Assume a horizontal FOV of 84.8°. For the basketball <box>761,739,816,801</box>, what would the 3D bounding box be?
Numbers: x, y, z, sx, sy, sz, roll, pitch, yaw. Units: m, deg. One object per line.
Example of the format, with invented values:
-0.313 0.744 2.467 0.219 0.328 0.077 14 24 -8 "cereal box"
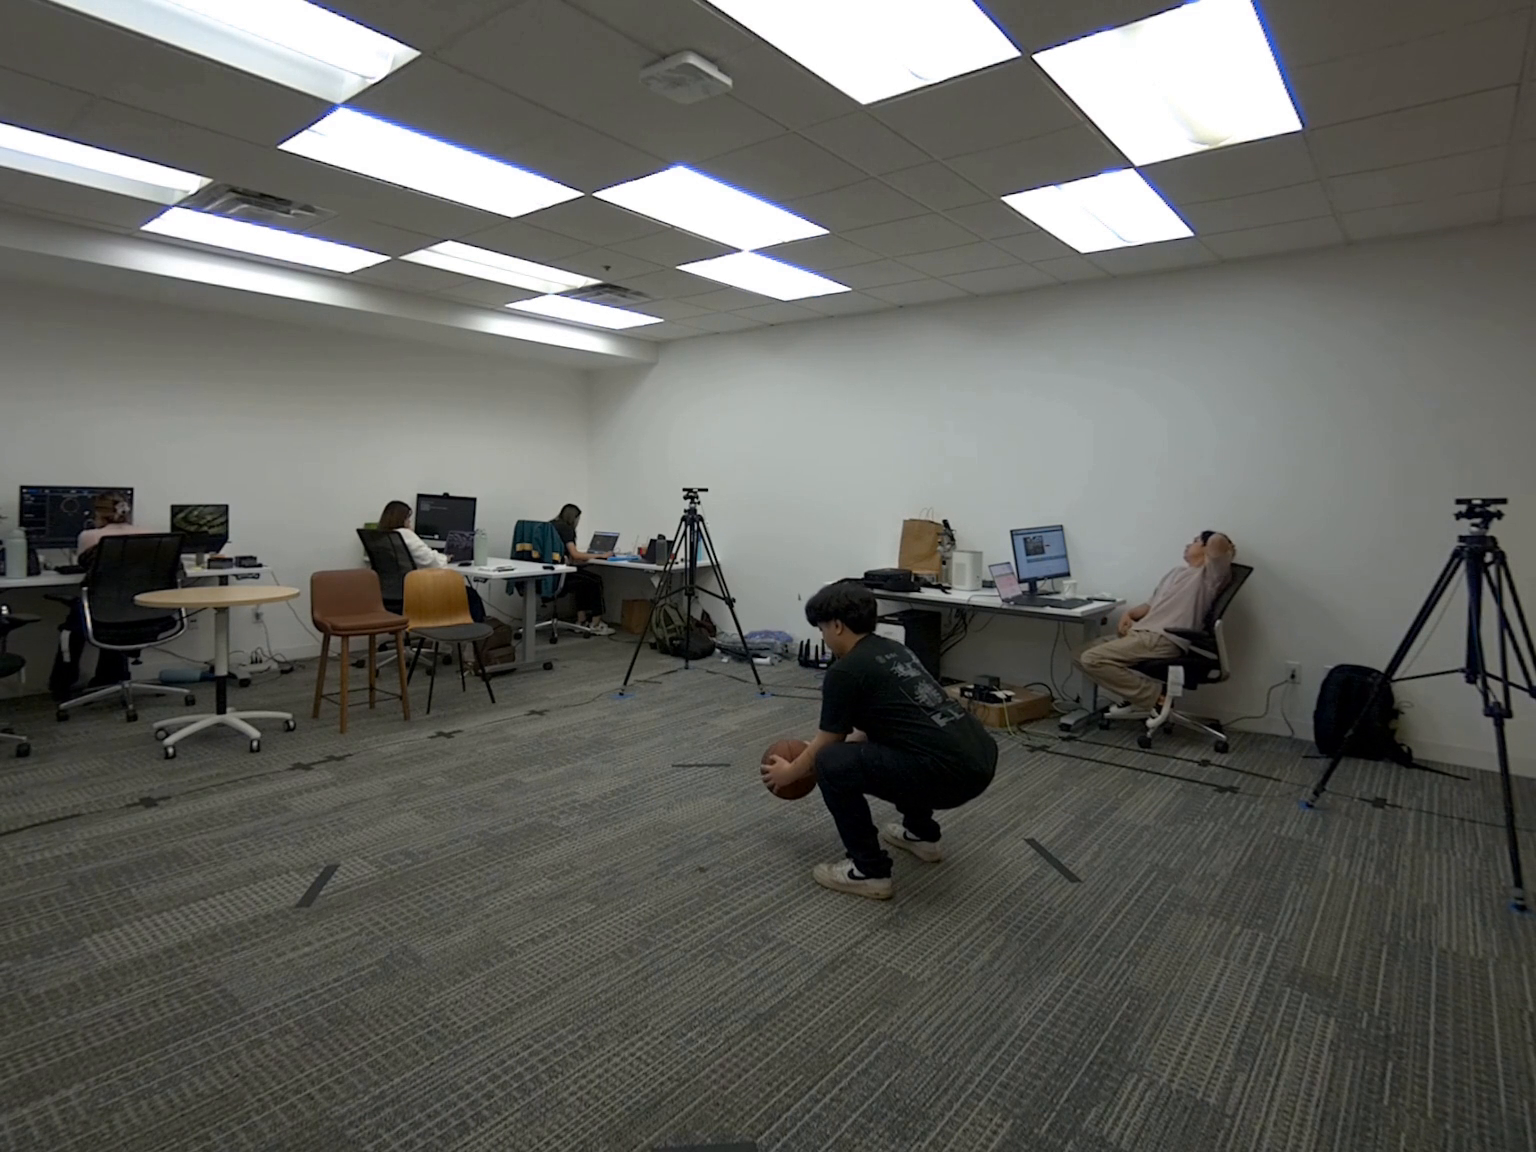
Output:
0.083 0.770 3.432 0.235 0.235 0.237 1 4 -2 "basketball"
